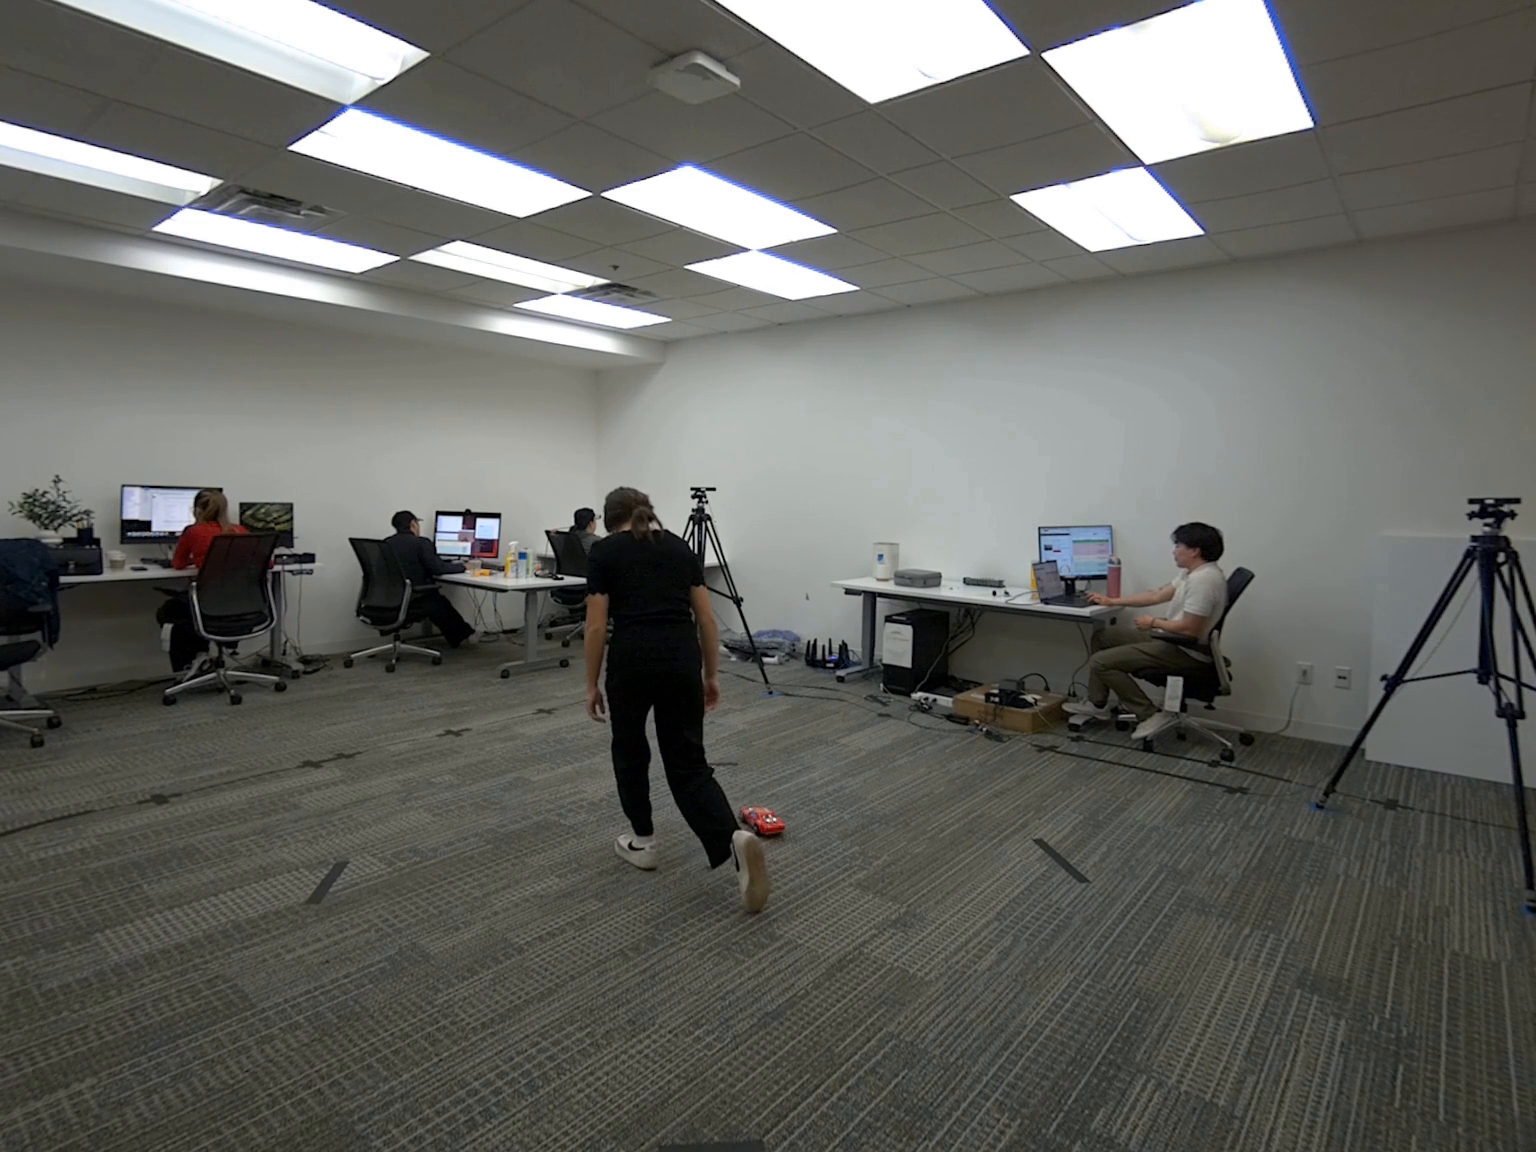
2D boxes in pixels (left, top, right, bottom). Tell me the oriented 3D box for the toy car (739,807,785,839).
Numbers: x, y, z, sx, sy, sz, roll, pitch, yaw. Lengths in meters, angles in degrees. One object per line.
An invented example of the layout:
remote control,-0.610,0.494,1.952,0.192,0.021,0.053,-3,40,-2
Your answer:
toy car,-0.029,0.999,3.482,0.127,0.084,0.259,-1,-5,-25
